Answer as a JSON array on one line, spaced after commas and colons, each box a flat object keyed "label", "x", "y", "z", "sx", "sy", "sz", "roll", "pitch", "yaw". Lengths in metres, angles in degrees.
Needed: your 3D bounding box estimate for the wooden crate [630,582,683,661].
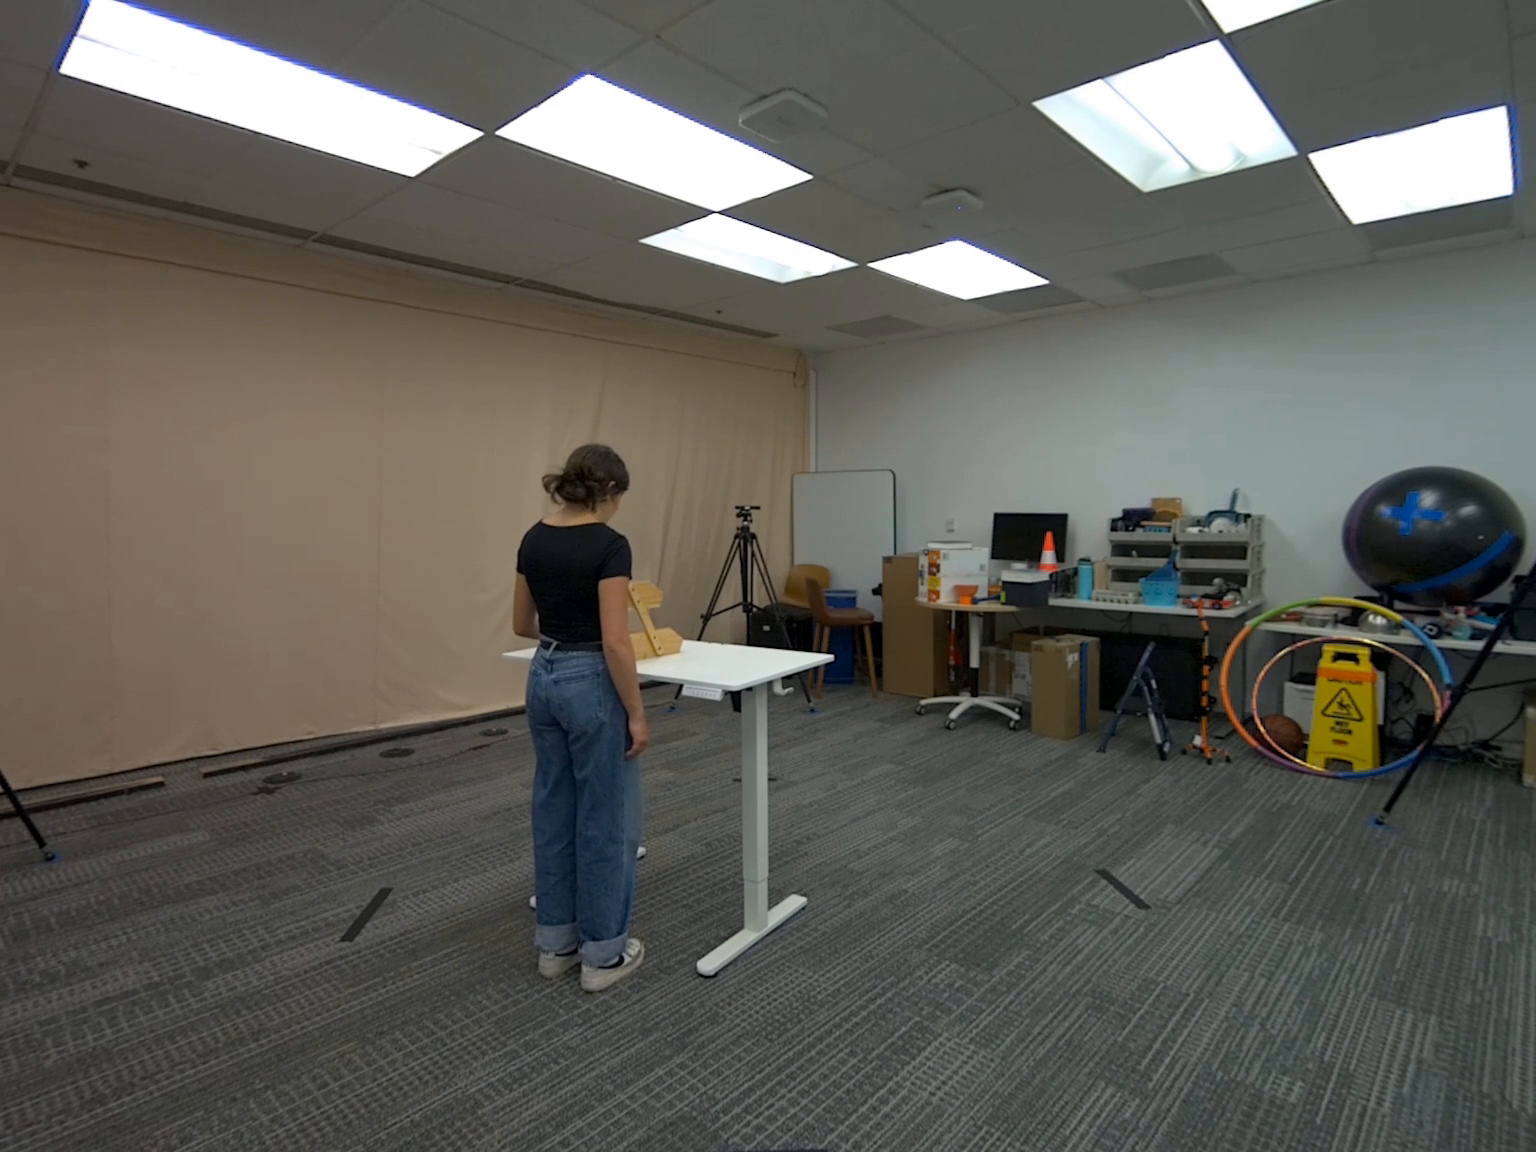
[{"label": "wooden crate", "x": -0.506, "y": 0.137, "z": 2.939, "sx": 0.335, "sy": 0.272, "sz": 0.293, "roll": 3, "pitch": 6, "yaw": 42}]
